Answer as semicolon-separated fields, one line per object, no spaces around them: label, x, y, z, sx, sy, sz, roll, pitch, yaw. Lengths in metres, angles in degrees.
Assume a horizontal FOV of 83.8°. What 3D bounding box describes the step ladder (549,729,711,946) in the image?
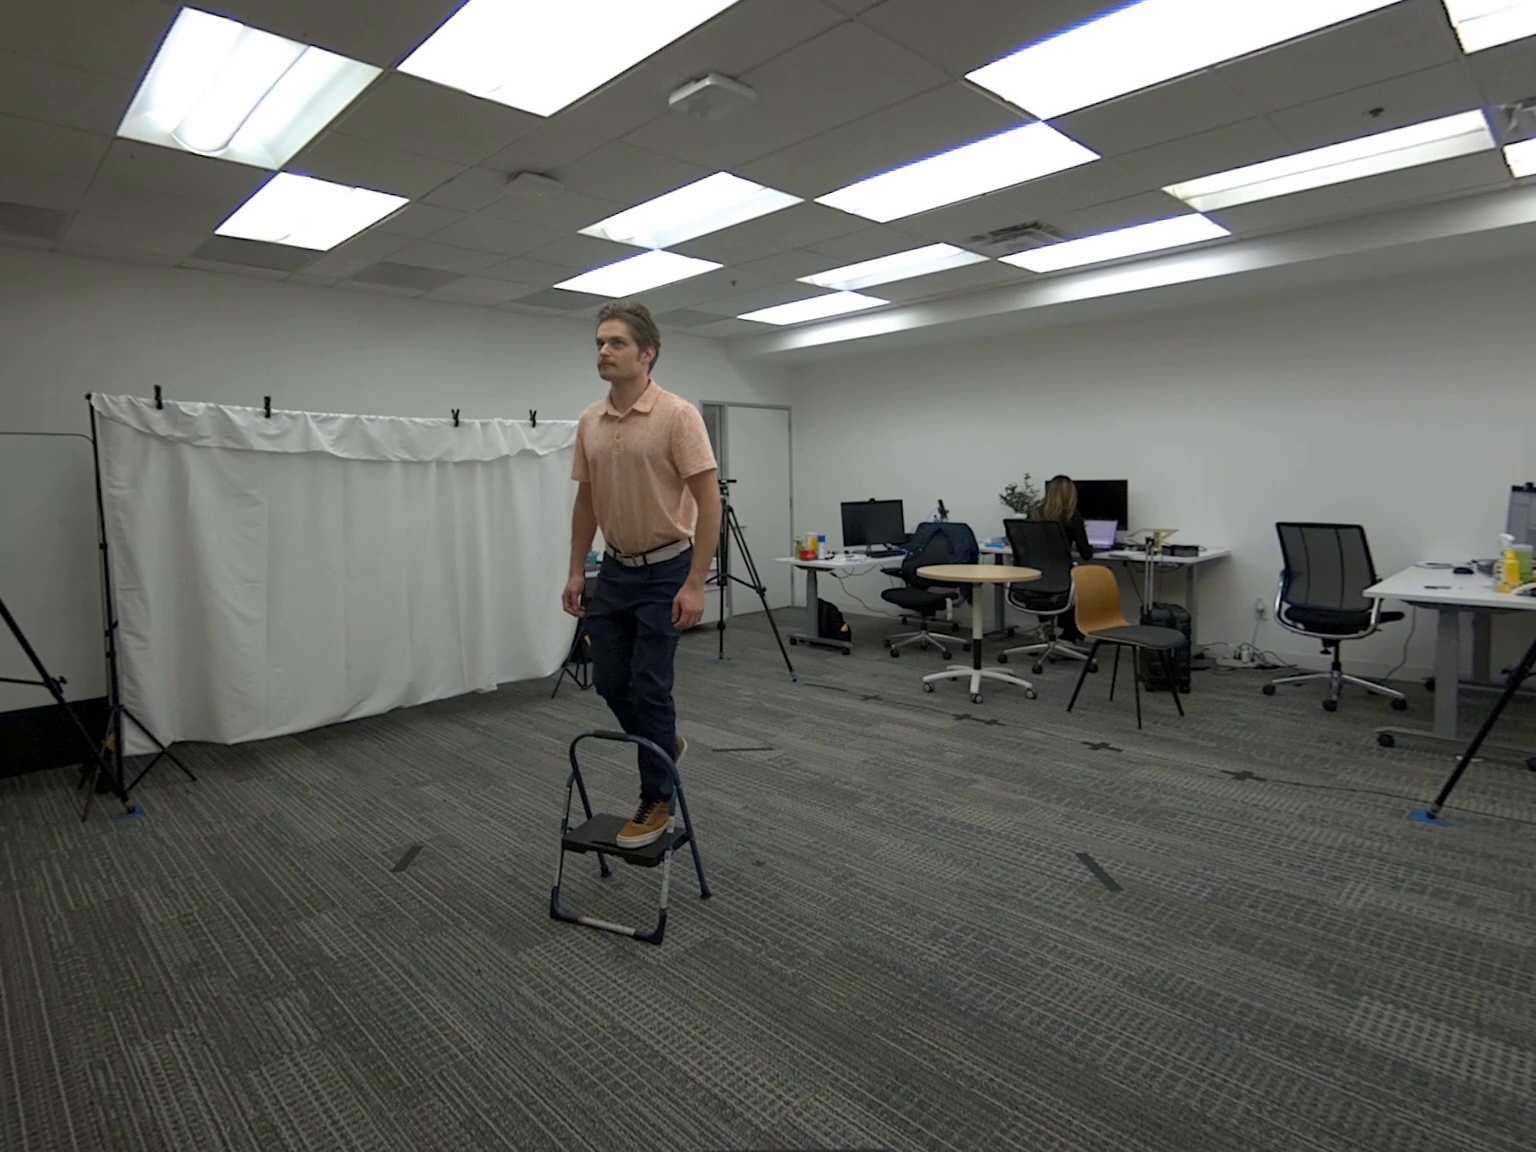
step ladder;-0.458;0.789;2.794;0.440;0.603;0.343;1;5;24
